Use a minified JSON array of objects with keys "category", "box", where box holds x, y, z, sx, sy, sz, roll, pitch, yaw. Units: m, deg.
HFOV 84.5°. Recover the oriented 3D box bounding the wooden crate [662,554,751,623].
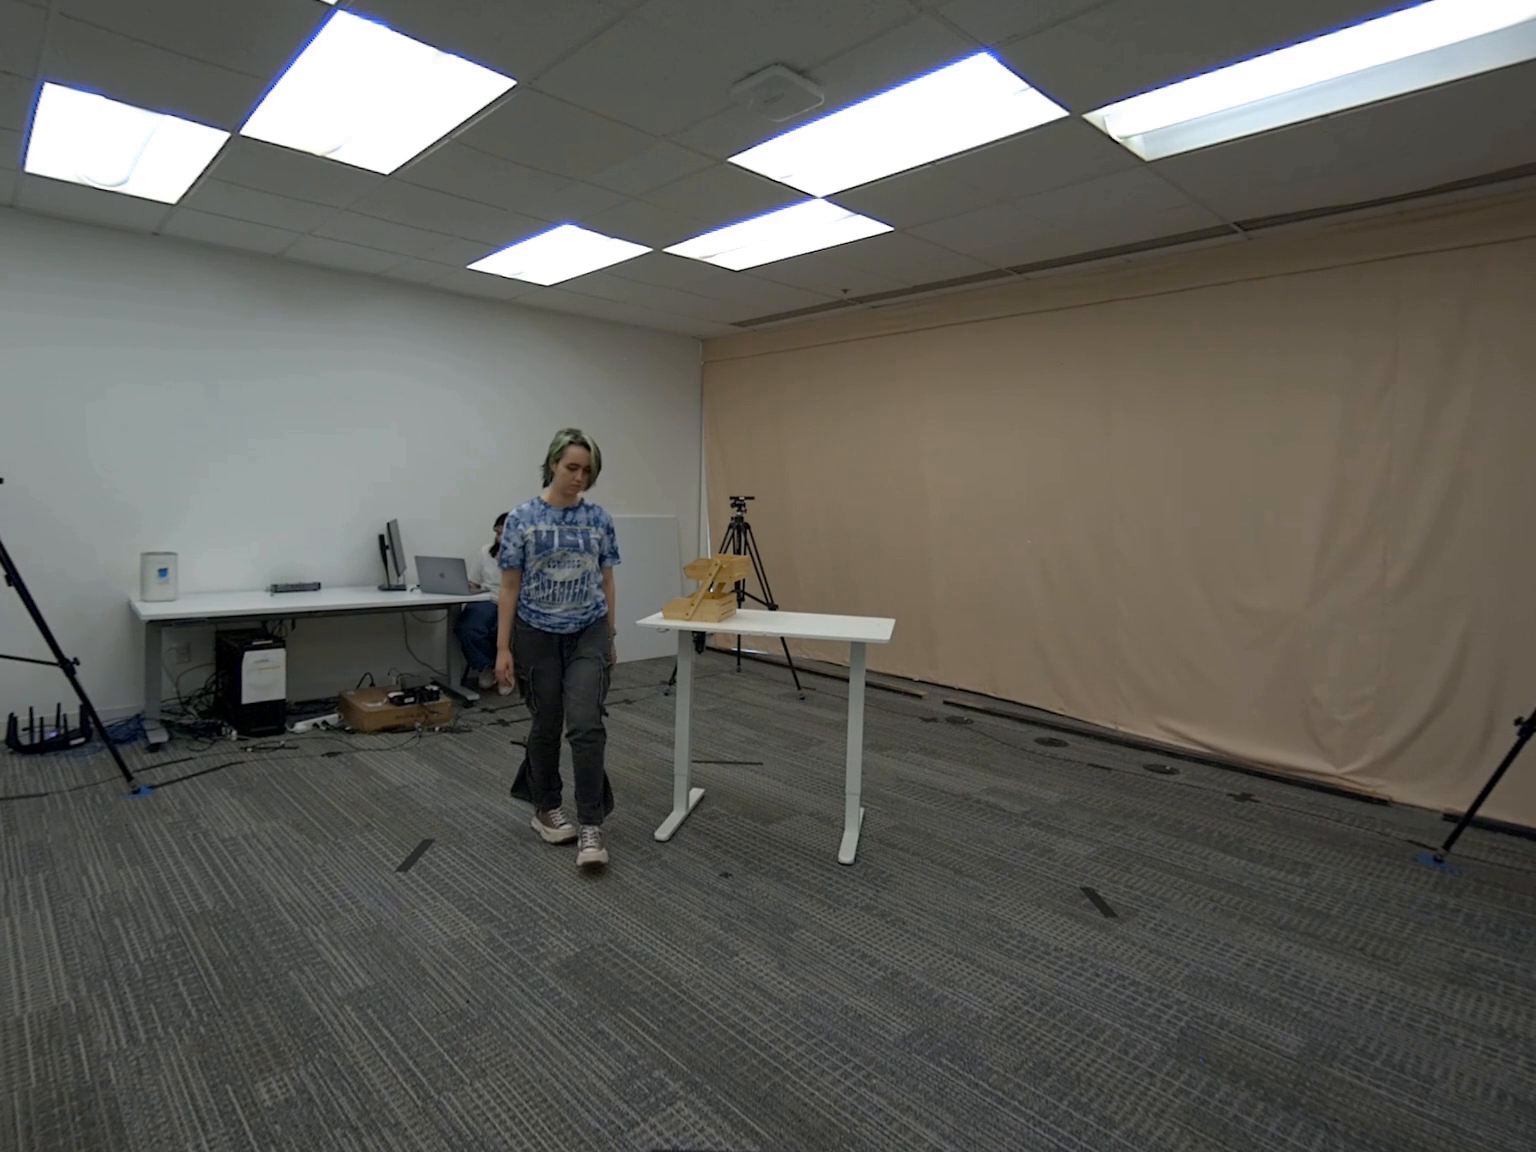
[{"category":"wooden crate","box":[-0.273,0.041,3.586,0.305,0.272,0.322,5,5,13]}]
